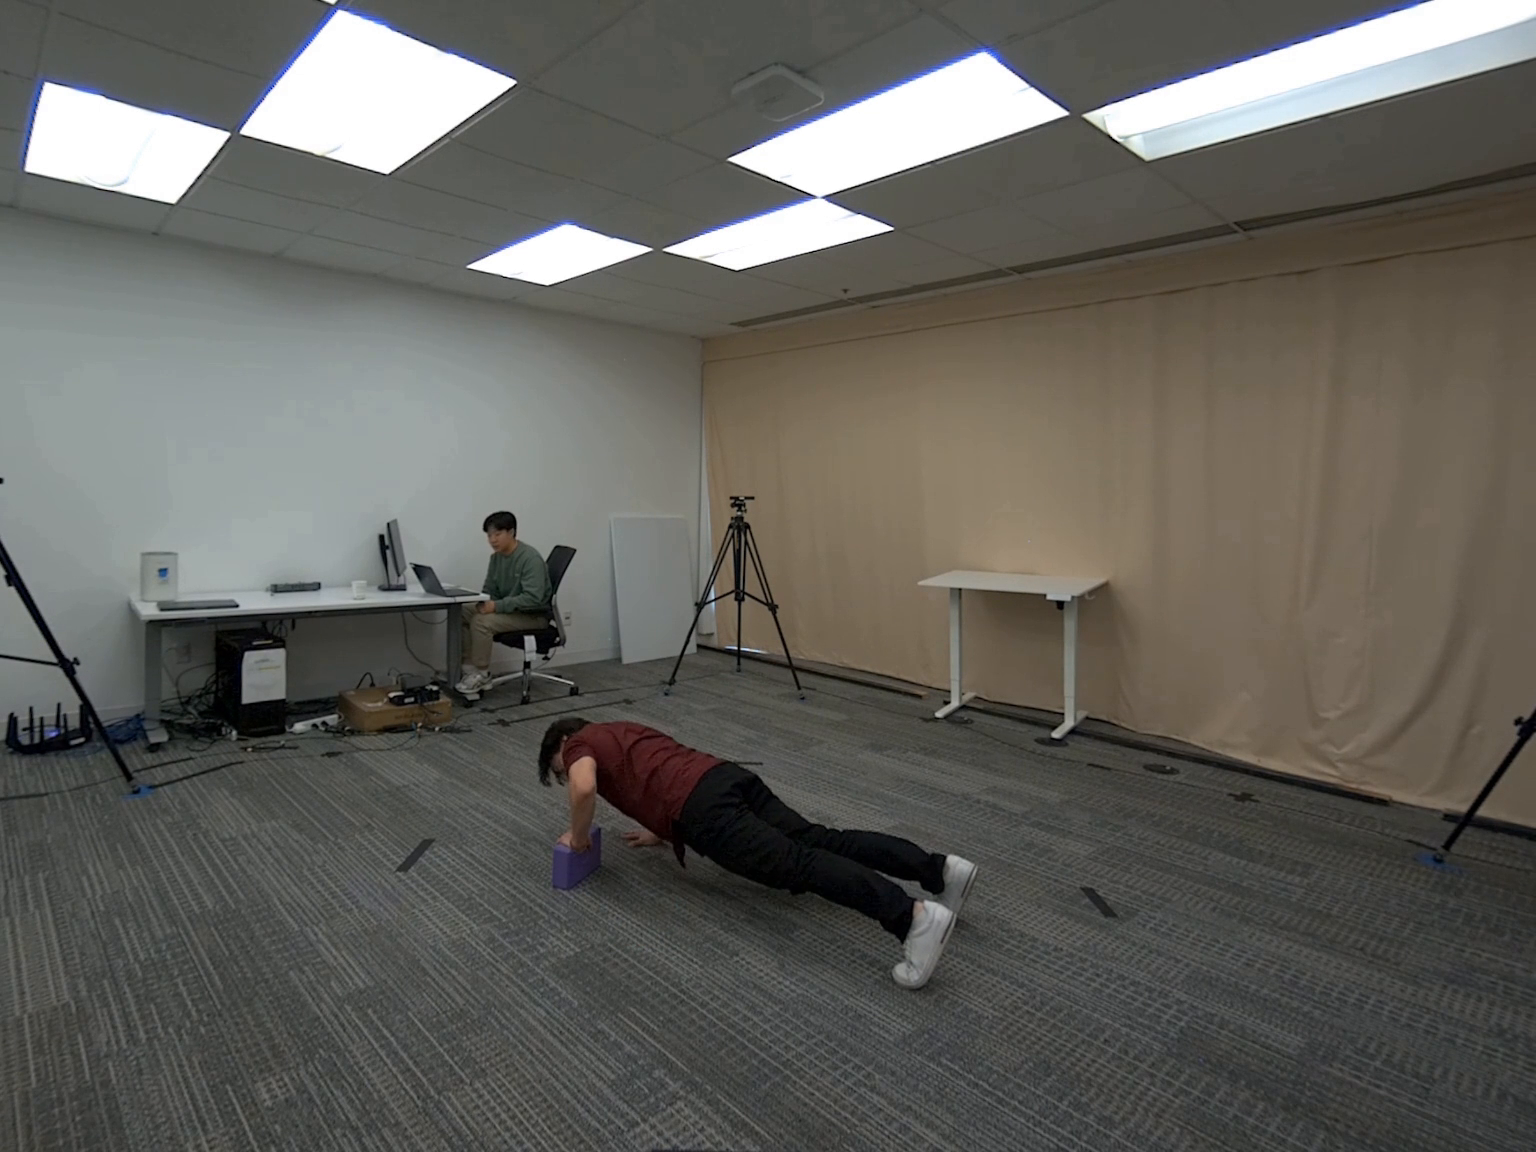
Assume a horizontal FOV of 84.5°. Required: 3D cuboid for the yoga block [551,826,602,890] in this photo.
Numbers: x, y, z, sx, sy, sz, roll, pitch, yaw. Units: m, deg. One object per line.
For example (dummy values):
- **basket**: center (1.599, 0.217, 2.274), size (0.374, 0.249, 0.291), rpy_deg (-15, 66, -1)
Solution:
- **yoga block**: center (-0.691, 1.013, 3.064), size (0.077, 0.148, 0.226), rpy_deg (4, 5, 17)
